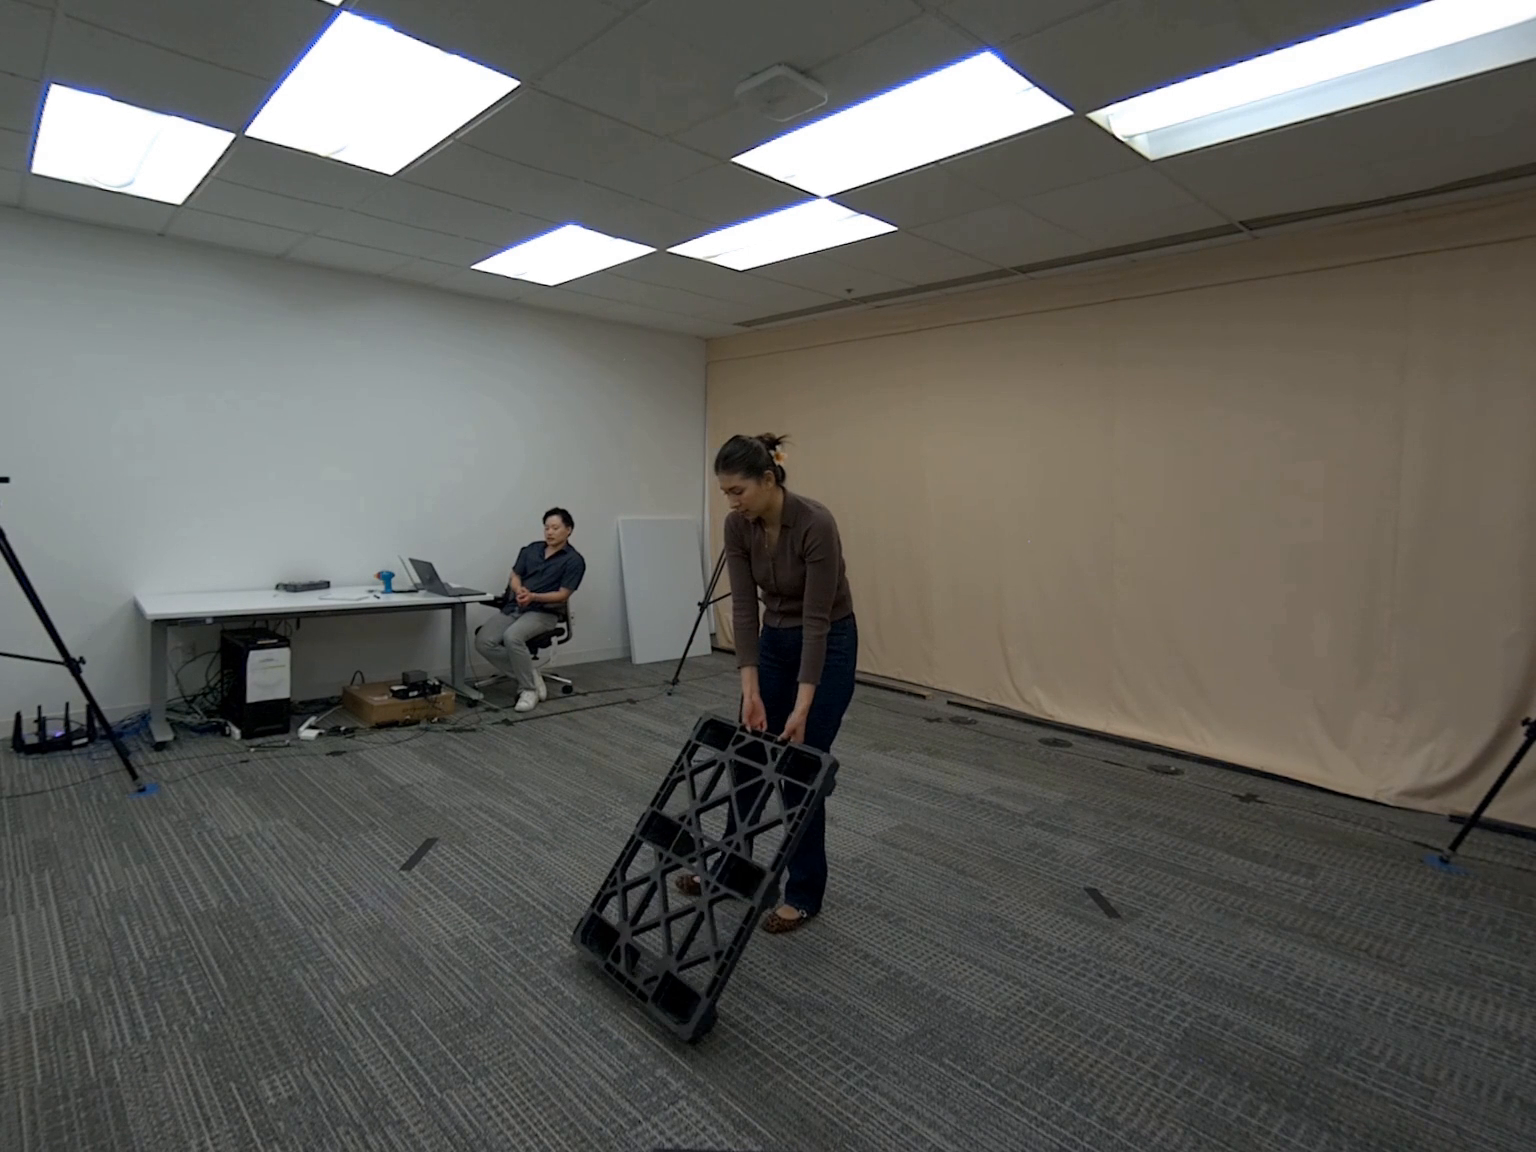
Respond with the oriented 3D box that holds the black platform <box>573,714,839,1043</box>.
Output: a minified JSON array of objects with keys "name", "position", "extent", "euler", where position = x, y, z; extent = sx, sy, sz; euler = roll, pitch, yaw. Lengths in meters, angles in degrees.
[{"name":"black platform","position":[-0.171,0.832,2.452],"extent":[0.621,0.809,0.139],"euler":[8,-31,48]}]
